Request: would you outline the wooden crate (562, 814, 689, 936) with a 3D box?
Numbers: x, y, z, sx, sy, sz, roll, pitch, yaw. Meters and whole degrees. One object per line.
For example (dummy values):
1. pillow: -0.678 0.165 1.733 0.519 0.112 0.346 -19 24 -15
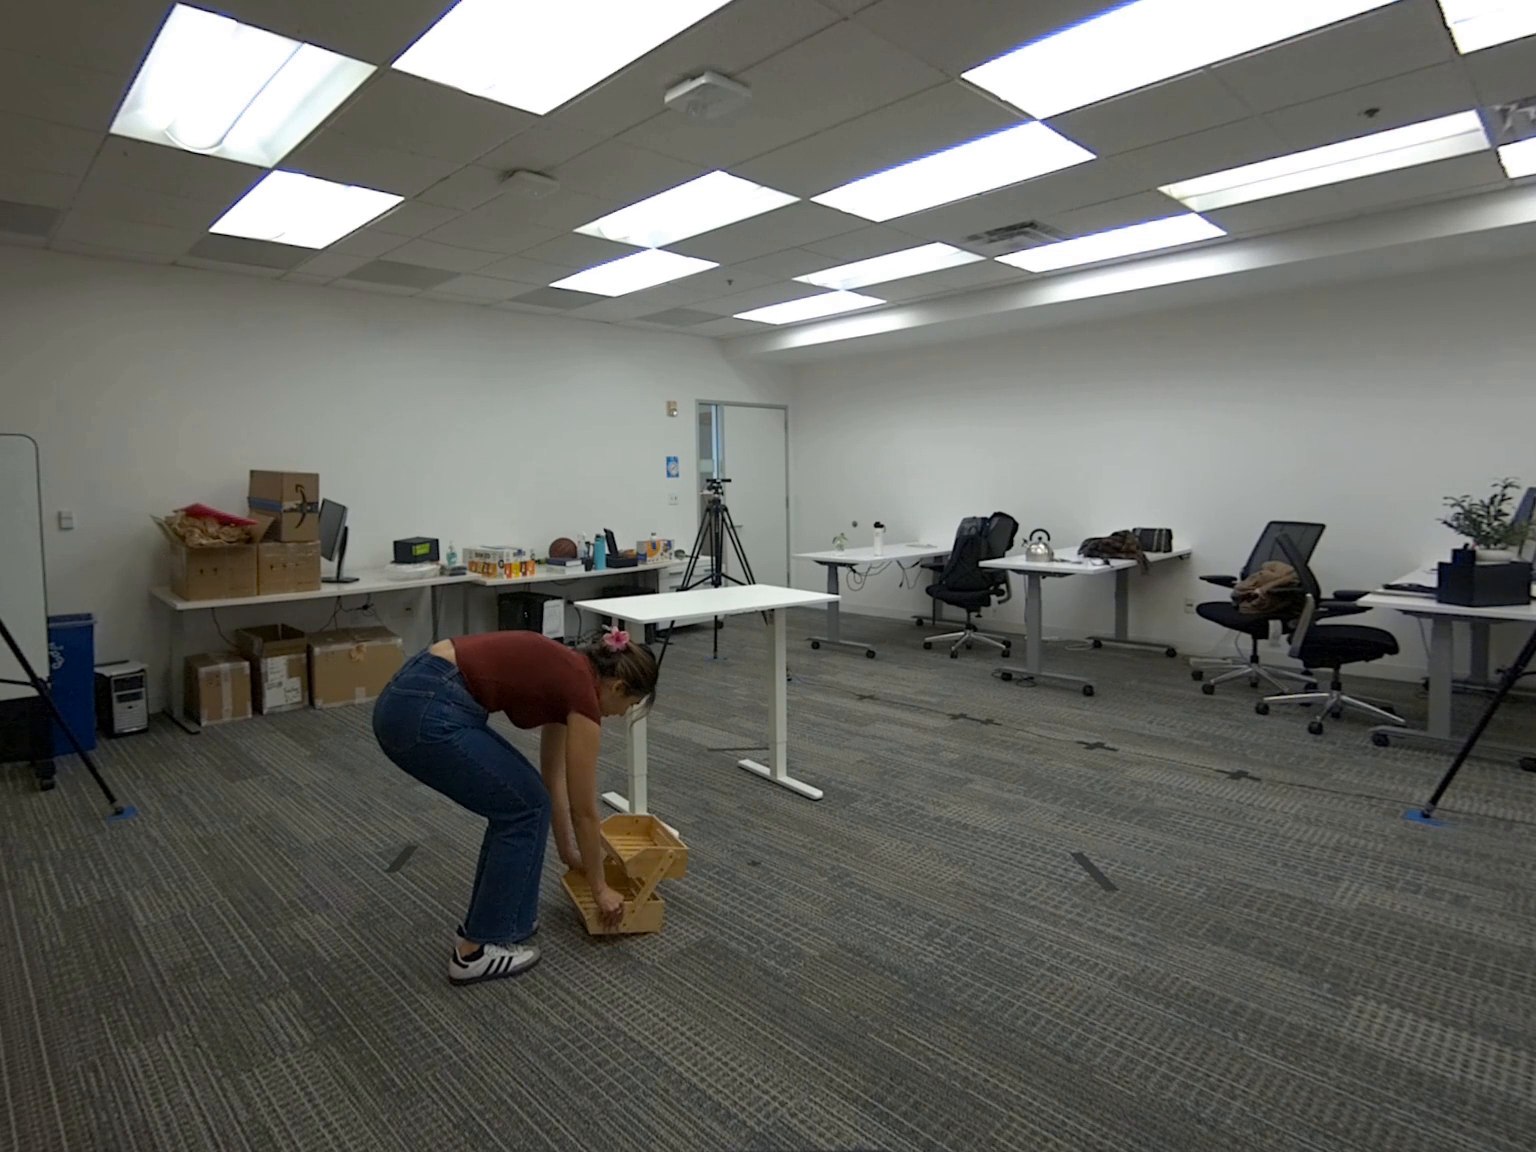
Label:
1. wooden crate: -0.467 0.940 2.745 0.294 0.273 0.333 10 0 -29
